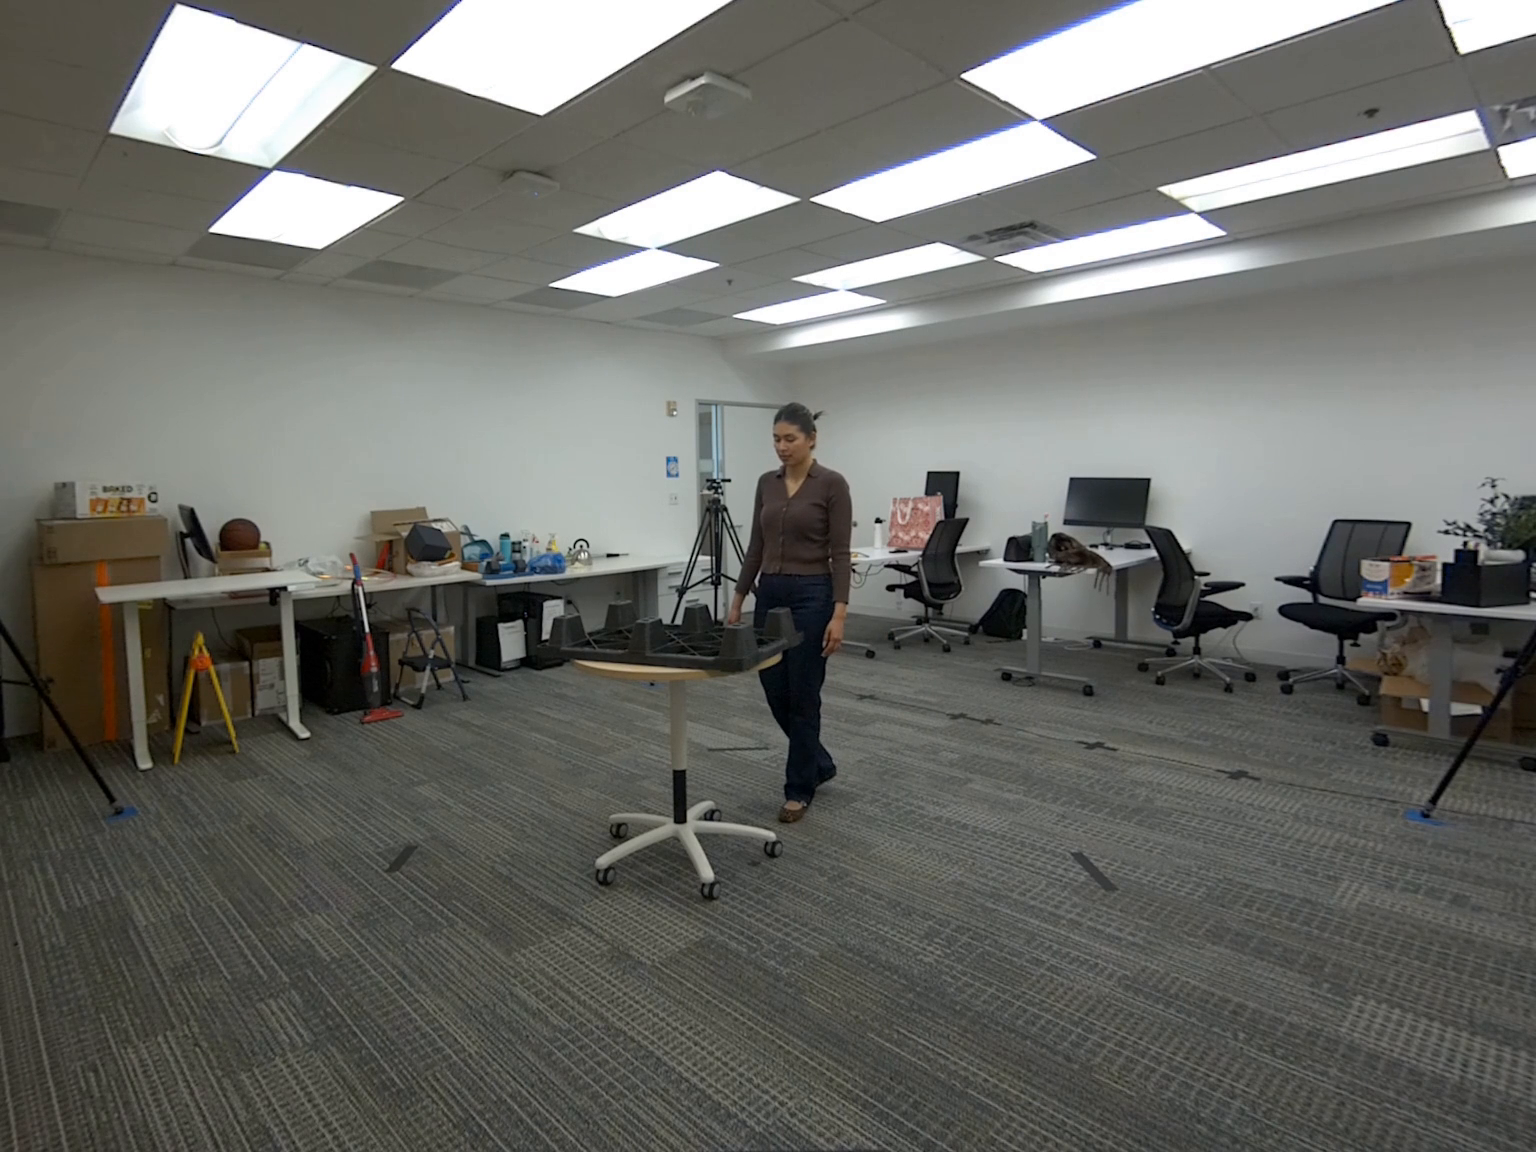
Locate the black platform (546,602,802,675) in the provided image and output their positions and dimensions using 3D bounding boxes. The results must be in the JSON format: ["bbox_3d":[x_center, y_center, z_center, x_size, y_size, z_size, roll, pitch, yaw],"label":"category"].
[{"bbox_3d":[-0.335,0.199,3.120,0.823,0.143,0.595,2,7,23],"label":"black platform"}]
